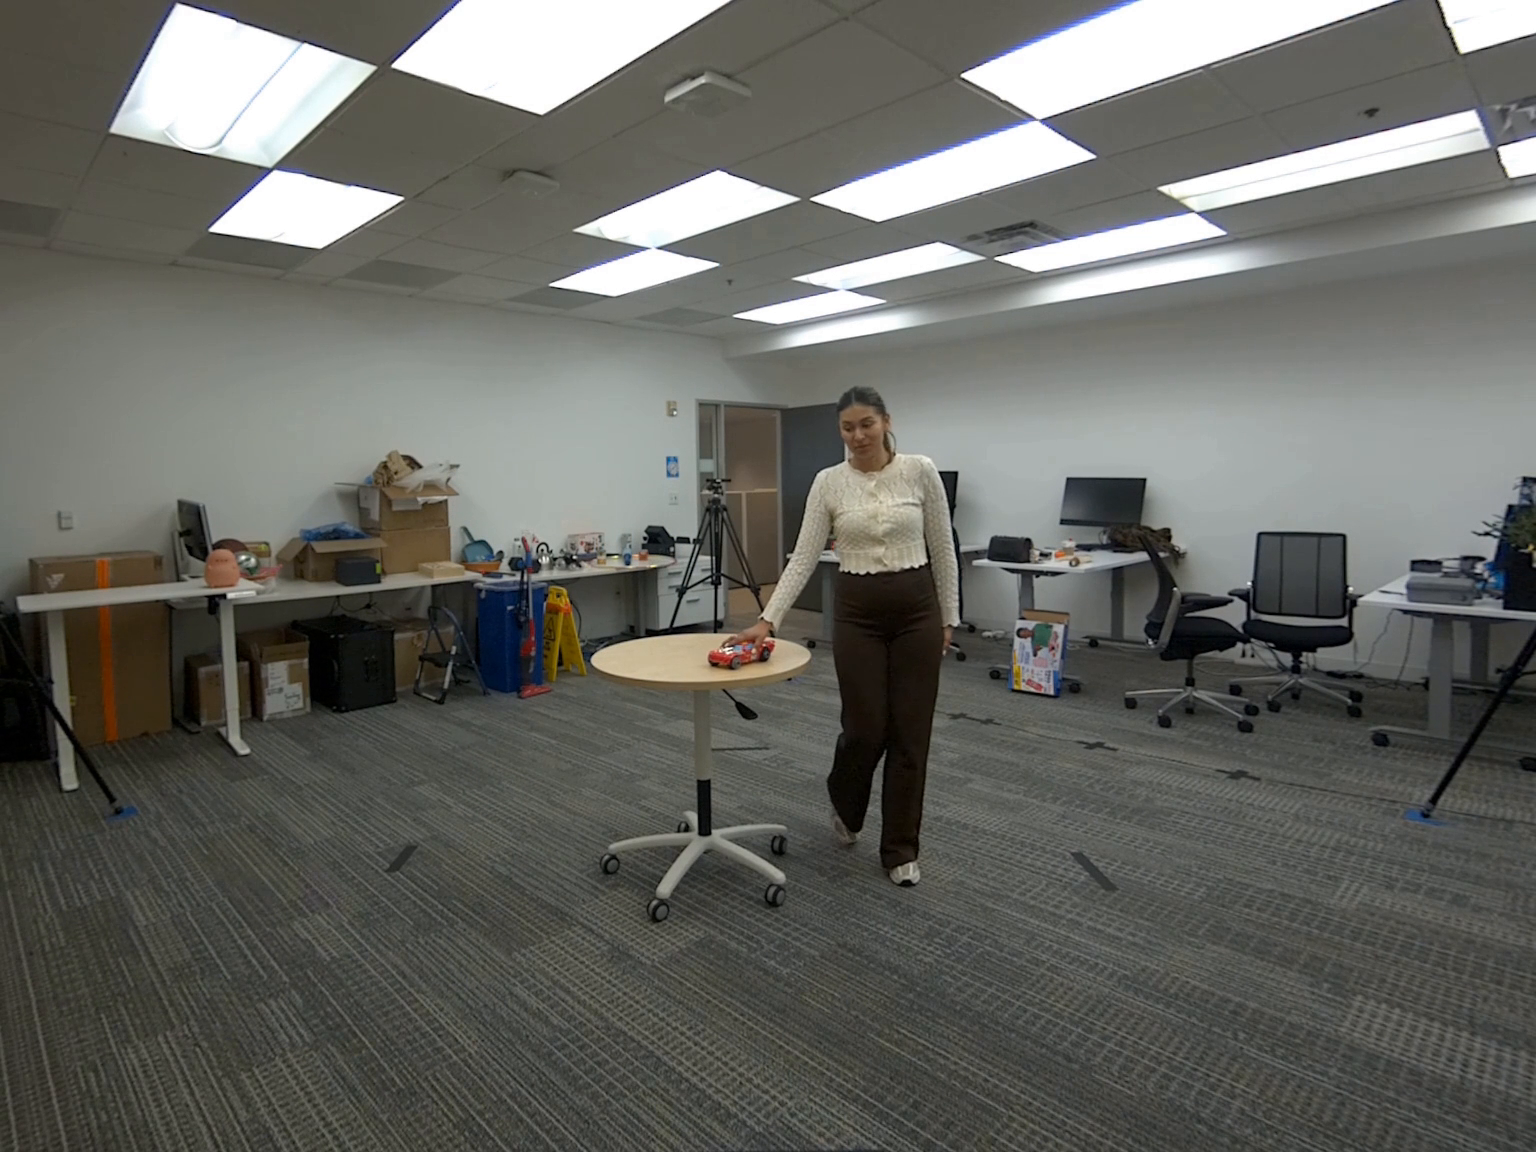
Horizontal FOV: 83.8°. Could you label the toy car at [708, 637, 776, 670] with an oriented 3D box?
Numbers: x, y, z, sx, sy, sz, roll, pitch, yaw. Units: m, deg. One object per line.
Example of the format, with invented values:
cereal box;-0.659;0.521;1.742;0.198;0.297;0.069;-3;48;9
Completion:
toy car;-0.079;0.262;2.858;0.134;0.082;0.250;4;19;41
